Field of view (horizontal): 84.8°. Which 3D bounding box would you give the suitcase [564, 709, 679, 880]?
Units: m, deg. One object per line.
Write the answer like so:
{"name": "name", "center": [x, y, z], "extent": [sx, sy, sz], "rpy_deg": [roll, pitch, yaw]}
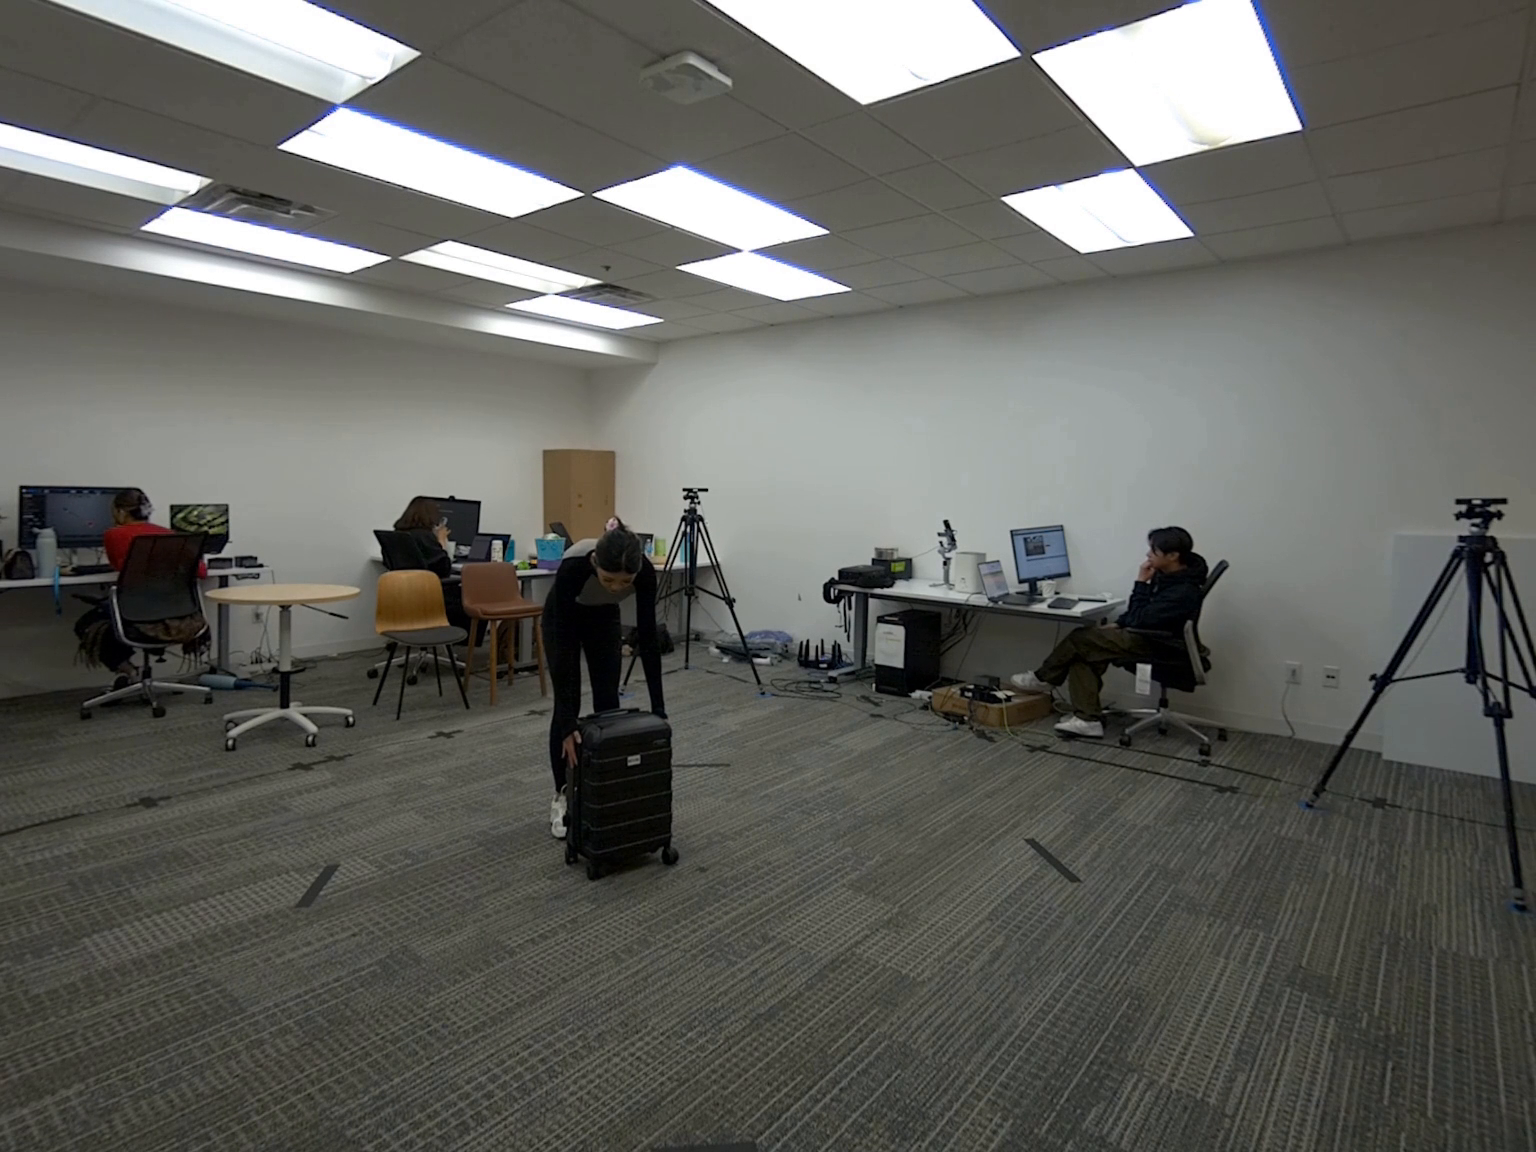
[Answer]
{"name": "suitcase", "center": [-0.560, 0.781, 3.163], "extent": [0.364, 0.548, 0.256], "rpy_deg": [-1, 3, -36]}
